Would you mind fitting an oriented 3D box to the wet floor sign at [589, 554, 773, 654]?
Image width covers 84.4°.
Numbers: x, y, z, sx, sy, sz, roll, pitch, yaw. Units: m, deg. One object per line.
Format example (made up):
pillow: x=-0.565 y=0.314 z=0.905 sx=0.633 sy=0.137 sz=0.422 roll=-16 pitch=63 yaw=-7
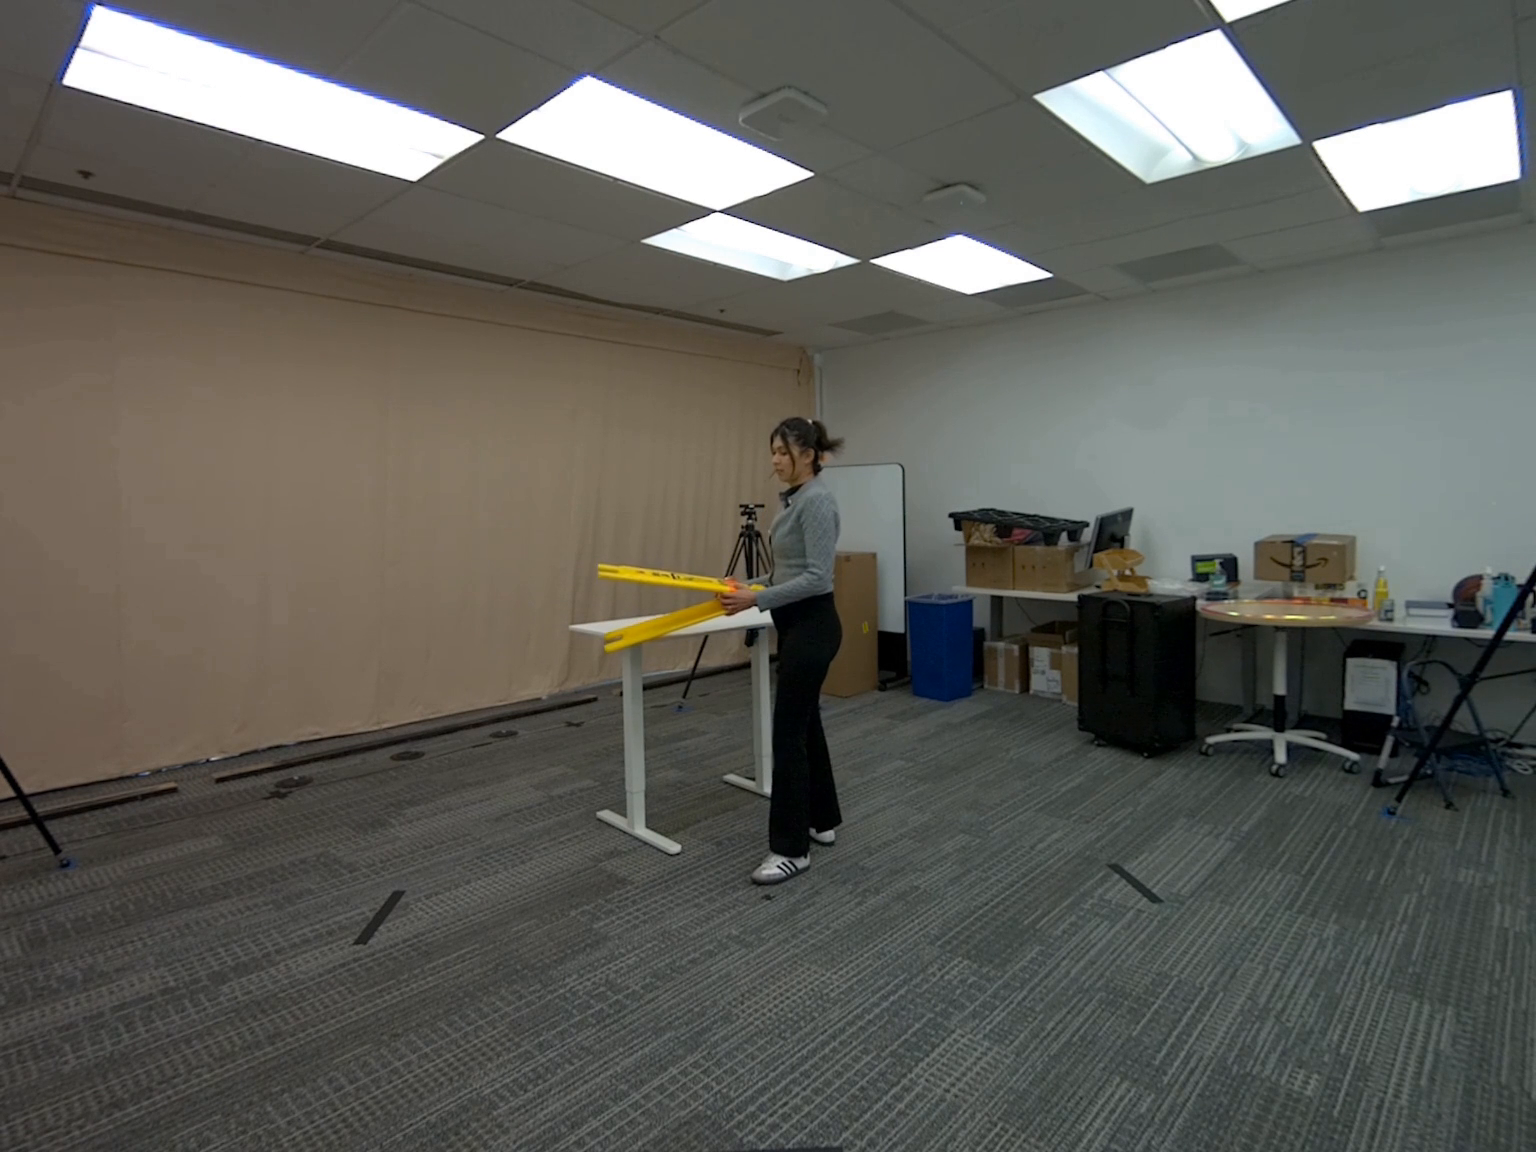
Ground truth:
wet floor sign: x=-0.329 y=0.096 z=3.207 sx=0.644 sy=0.288 sz=0.284 roll=-4 pitch=7 yaw=-3
